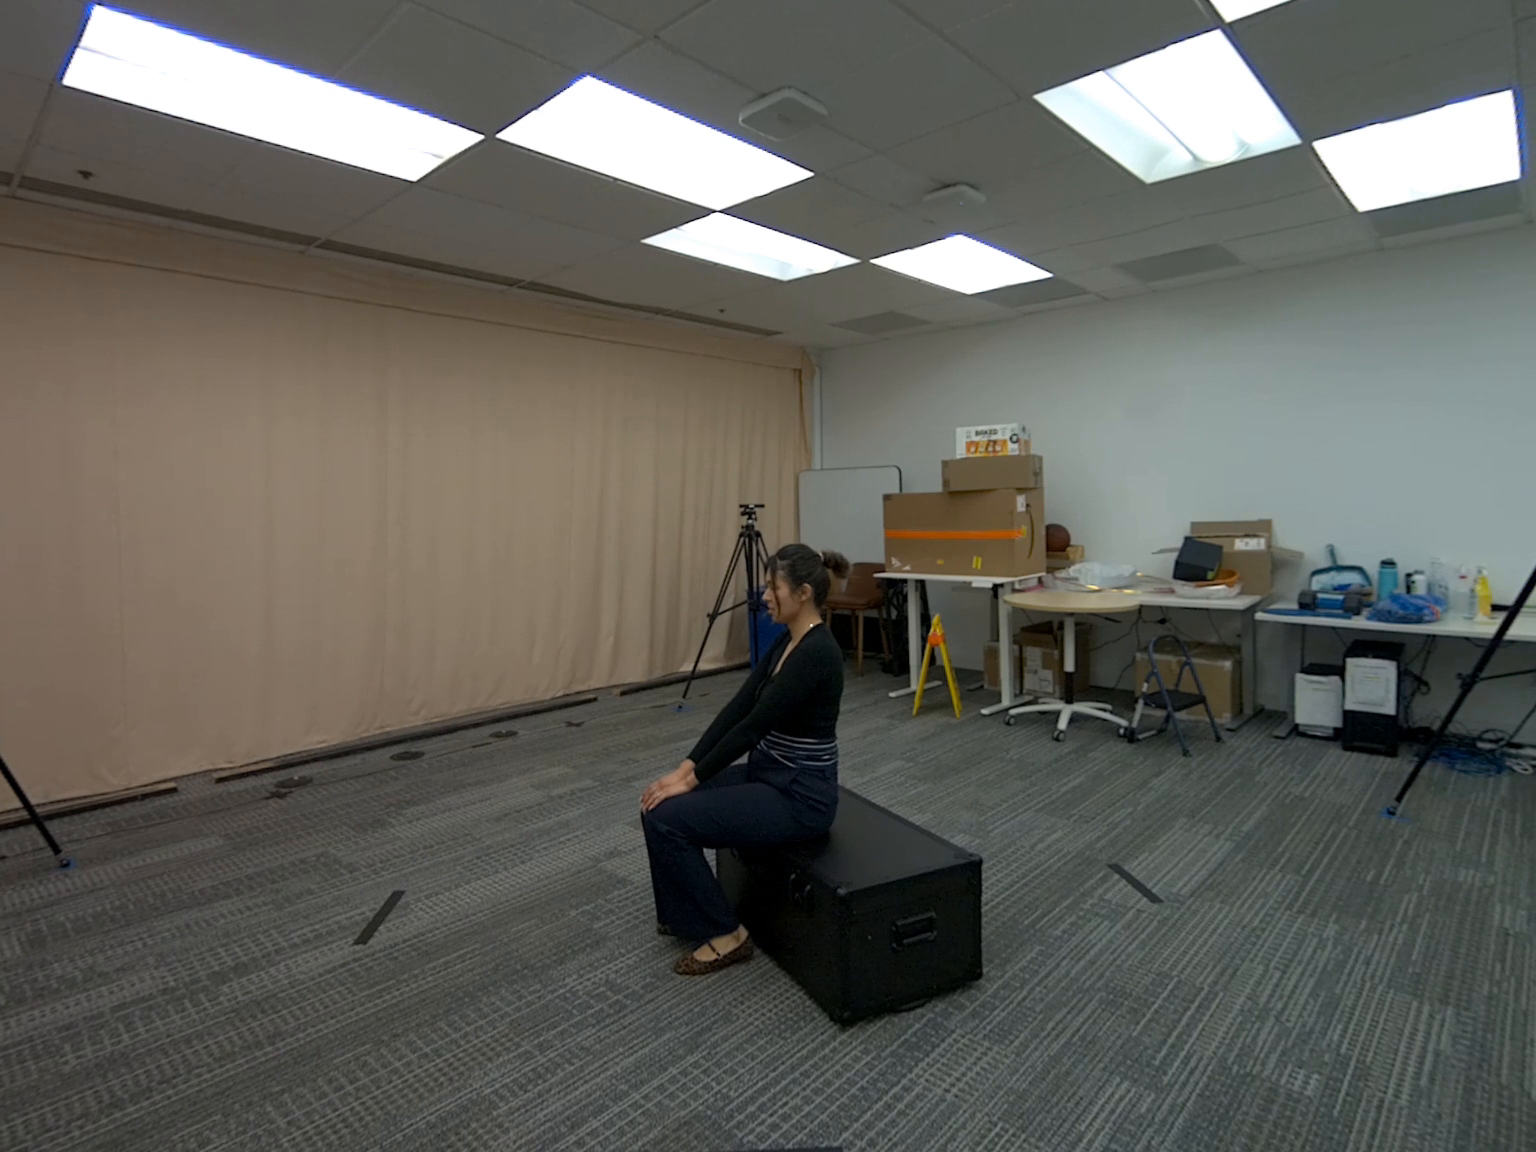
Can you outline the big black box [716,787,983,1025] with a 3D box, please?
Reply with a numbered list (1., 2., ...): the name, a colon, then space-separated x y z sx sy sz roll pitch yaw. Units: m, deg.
1. big black box: 0.234 0.976 2.623 0.508 0.395 0.885 -3 5 -28
